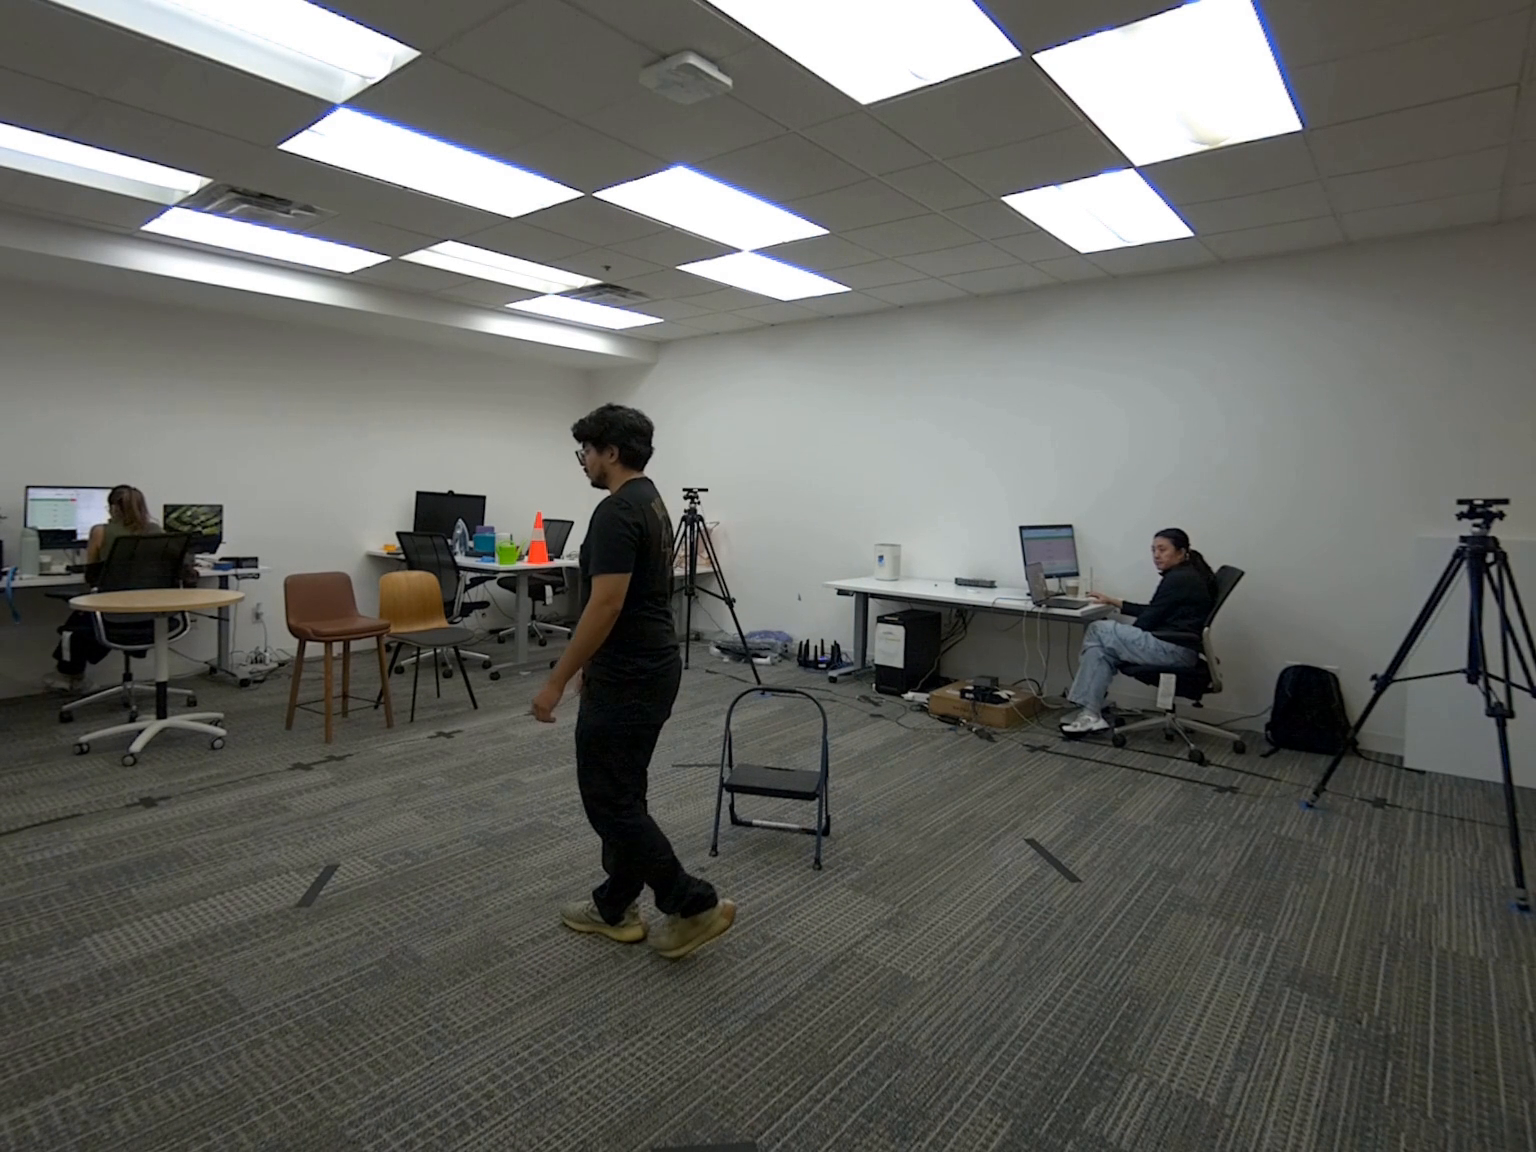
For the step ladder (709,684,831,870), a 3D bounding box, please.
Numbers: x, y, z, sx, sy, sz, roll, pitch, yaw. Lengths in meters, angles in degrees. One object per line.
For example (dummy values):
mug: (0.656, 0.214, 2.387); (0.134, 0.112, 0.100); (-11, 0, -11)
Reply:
step ladder: (0.018, 0.750, 3.329); (0.437, 0.604, 0.345); (2, 4, 13)
